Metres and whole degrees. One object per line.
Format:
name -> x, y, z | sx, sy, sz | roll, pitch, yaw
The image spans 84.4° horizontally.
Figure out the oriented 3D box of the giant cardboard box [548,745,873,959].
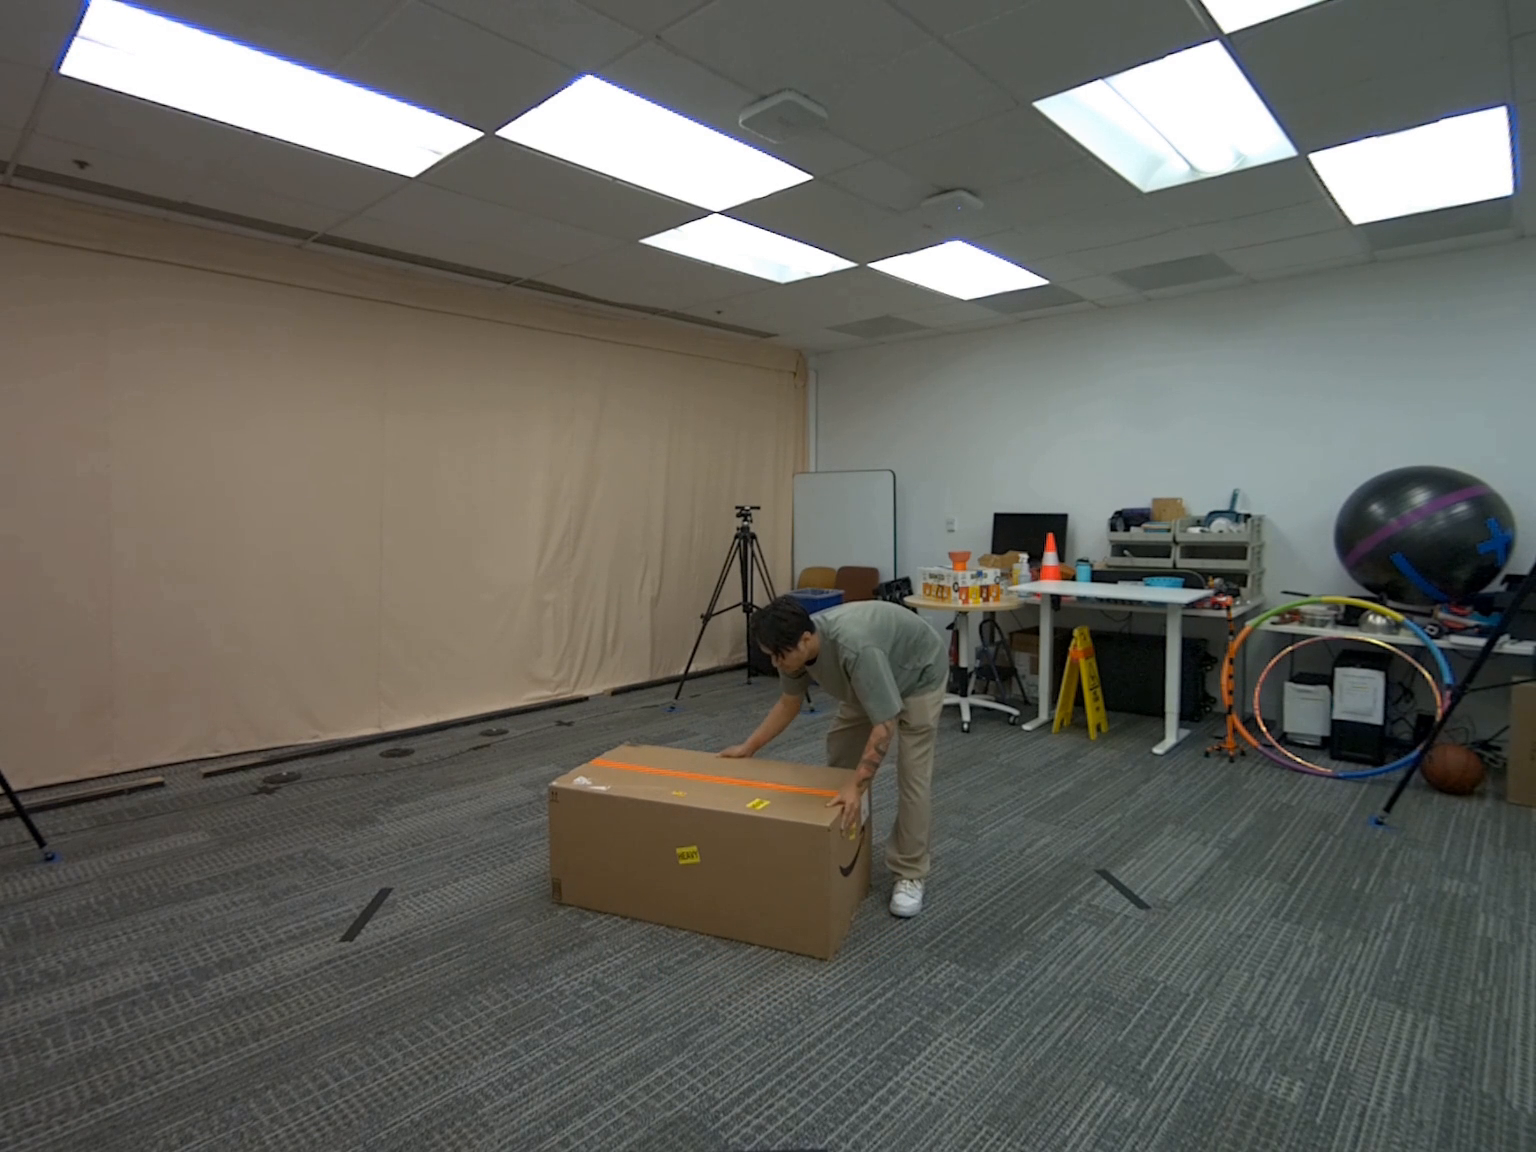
giant cardboard box -> -0.198, 0.927, 3.018 | 1.050, 0.425, 0.565 | 2, 3, 22
